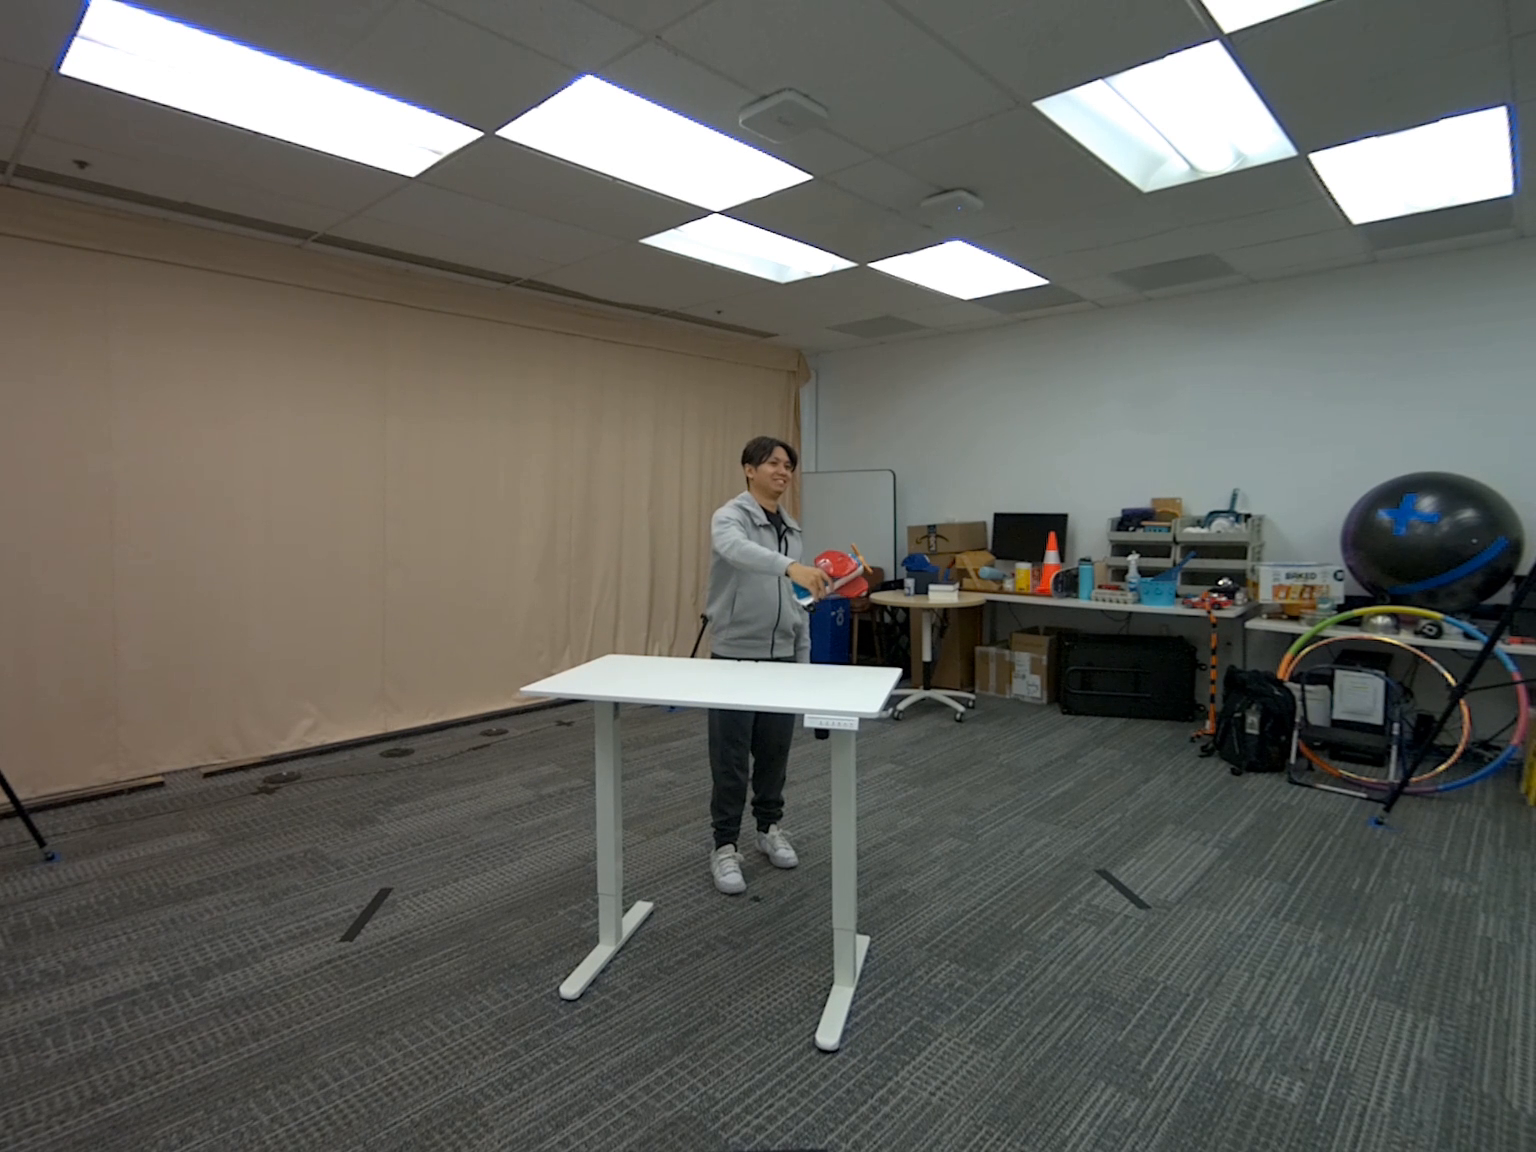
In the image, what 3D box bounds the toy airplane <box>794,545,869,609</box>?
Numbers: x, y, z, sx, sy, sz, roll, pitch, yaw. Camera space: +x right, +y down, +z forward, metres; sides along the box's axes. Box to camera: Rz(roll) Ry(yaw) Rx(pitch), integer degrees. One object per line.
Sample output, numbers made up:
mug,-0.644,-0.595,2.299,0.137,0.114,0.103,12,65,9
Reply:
toy airplane,0.220,0.017,2.769,0.259,0.154,0.254,6,25,46
